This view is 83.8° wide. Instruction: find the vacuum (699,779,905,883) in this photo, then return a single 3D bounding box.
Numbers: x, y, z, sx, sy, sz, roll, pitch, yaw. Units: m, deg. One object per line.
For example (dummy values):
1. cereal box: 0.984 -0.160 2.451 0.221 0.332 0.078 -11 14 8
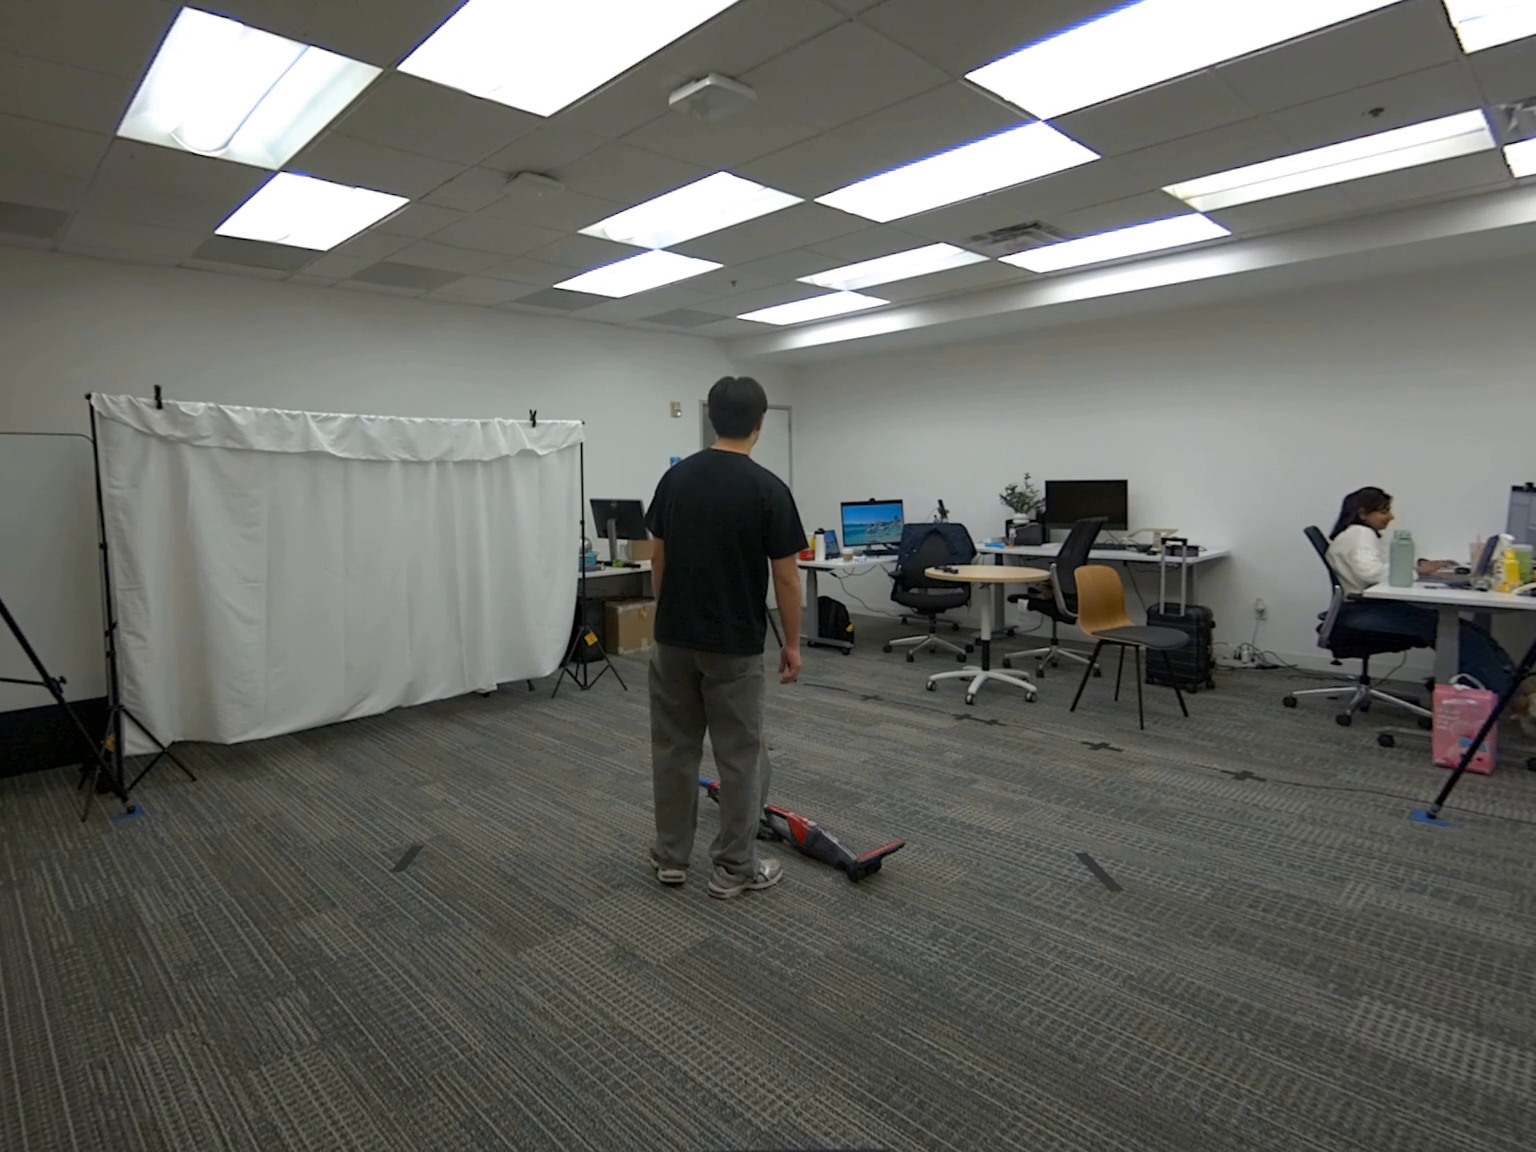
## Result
1. vacuum: 0.003 0.961 3.357 0.246 0.143 1.082 -9 10 -42
